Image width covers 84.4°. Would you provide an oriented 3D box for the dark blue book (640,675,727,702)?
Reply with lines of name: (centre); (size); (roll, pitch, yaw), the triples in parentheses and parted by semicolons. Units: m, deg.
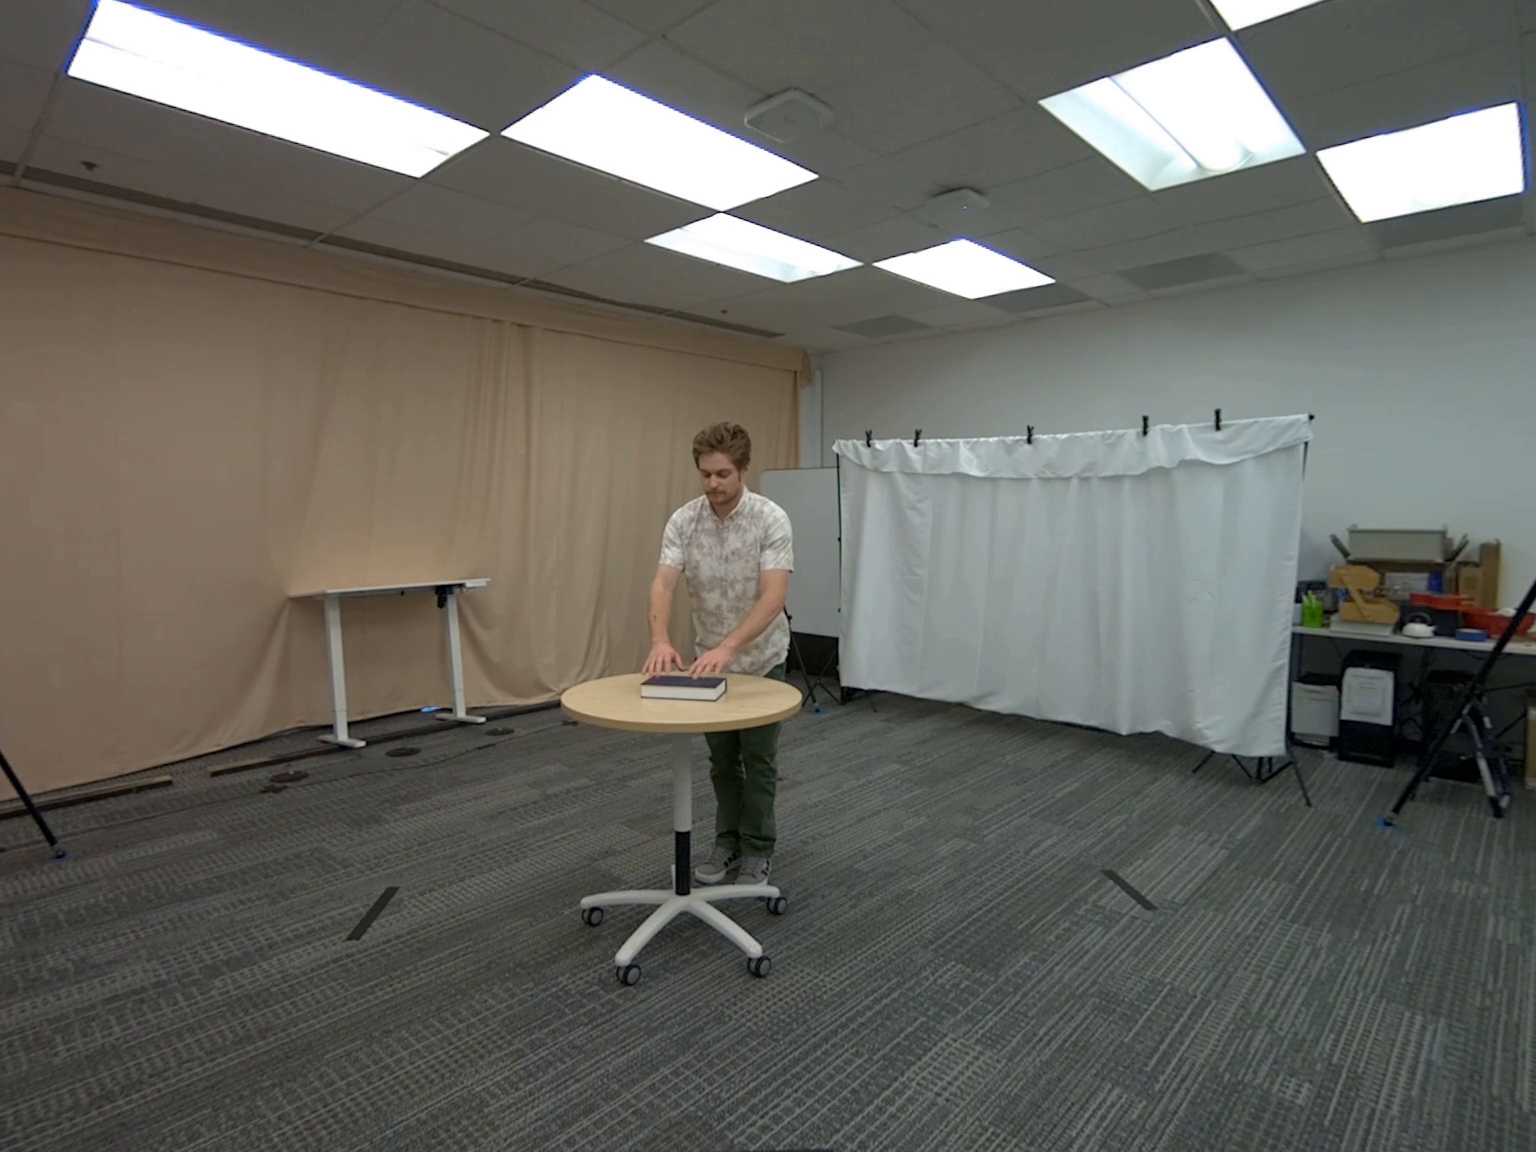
dark blue book: (-0.269, 0.354, 2.685); (0.248, 0.045, 0.161); (1, 4, 12)
